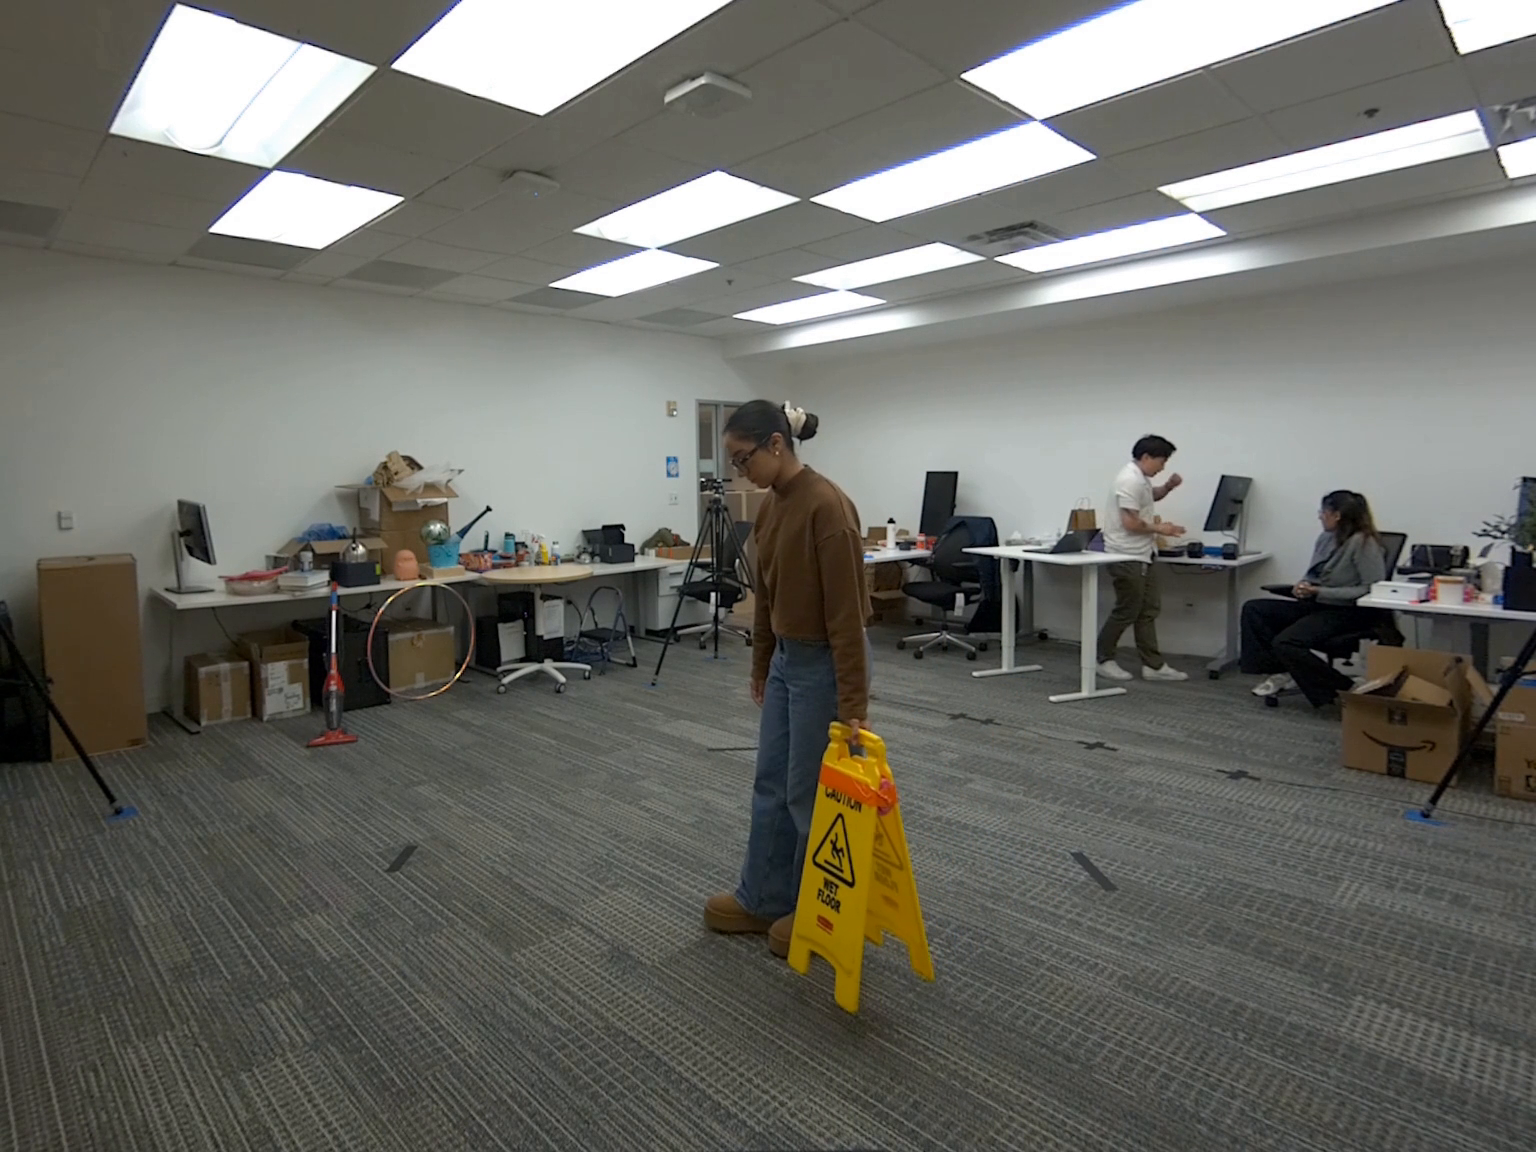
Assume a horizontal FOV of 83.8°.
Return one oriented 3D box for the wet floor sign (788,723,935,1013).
[{"bbox_3d":[0.241,0.723,2.239,0.283,0.645,0.290,-3,3,-31],"label":"wet floor sign"}]
